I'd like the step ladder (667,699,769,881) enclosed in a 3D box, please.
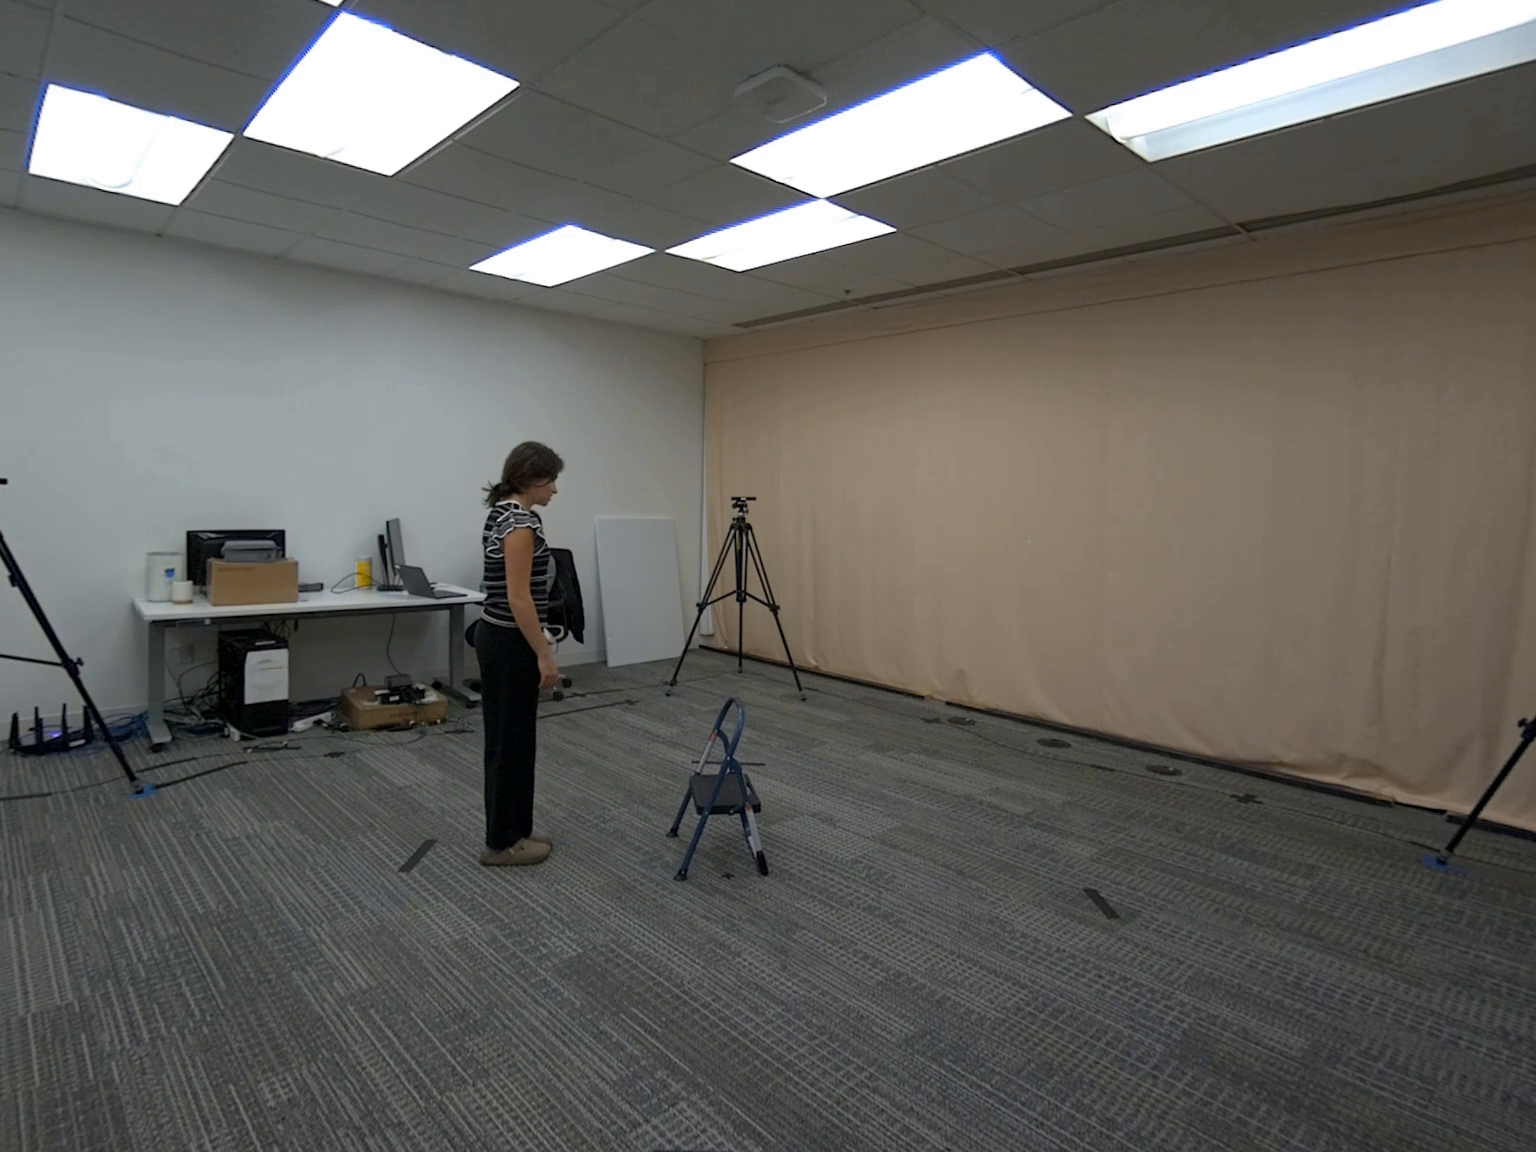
[{"bbox_3d":[-0.203,0.790,3.274,0.346,0.604,0.435,0,4,-10],"label":"step ladder"}]
